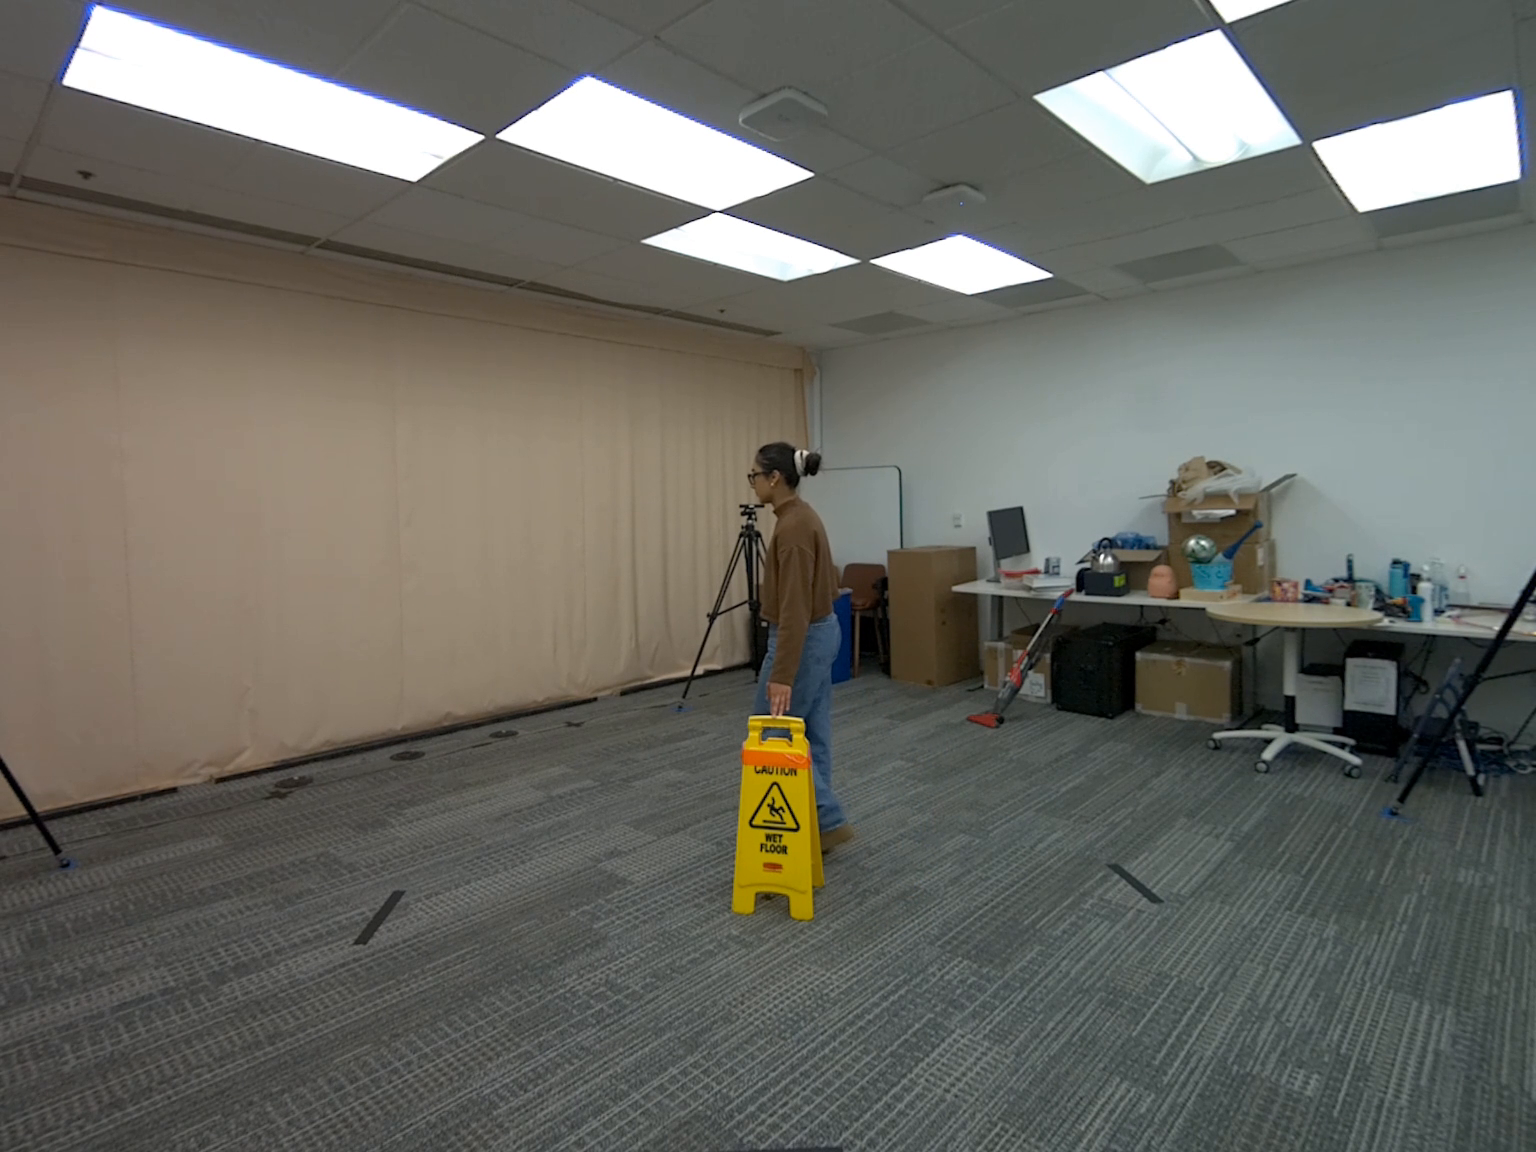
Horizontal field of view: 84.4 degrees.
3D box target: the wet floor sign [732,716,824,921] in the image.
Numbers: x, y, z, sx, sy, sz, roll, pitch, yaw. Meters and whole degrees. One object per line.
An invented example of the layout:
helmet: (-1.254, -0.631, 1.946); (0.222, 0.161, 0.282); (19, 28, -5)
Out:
wet floor sign: (0.040, 0.814, 2.965); (0.287, 0.645, 0.286); (1, 3, 13)
